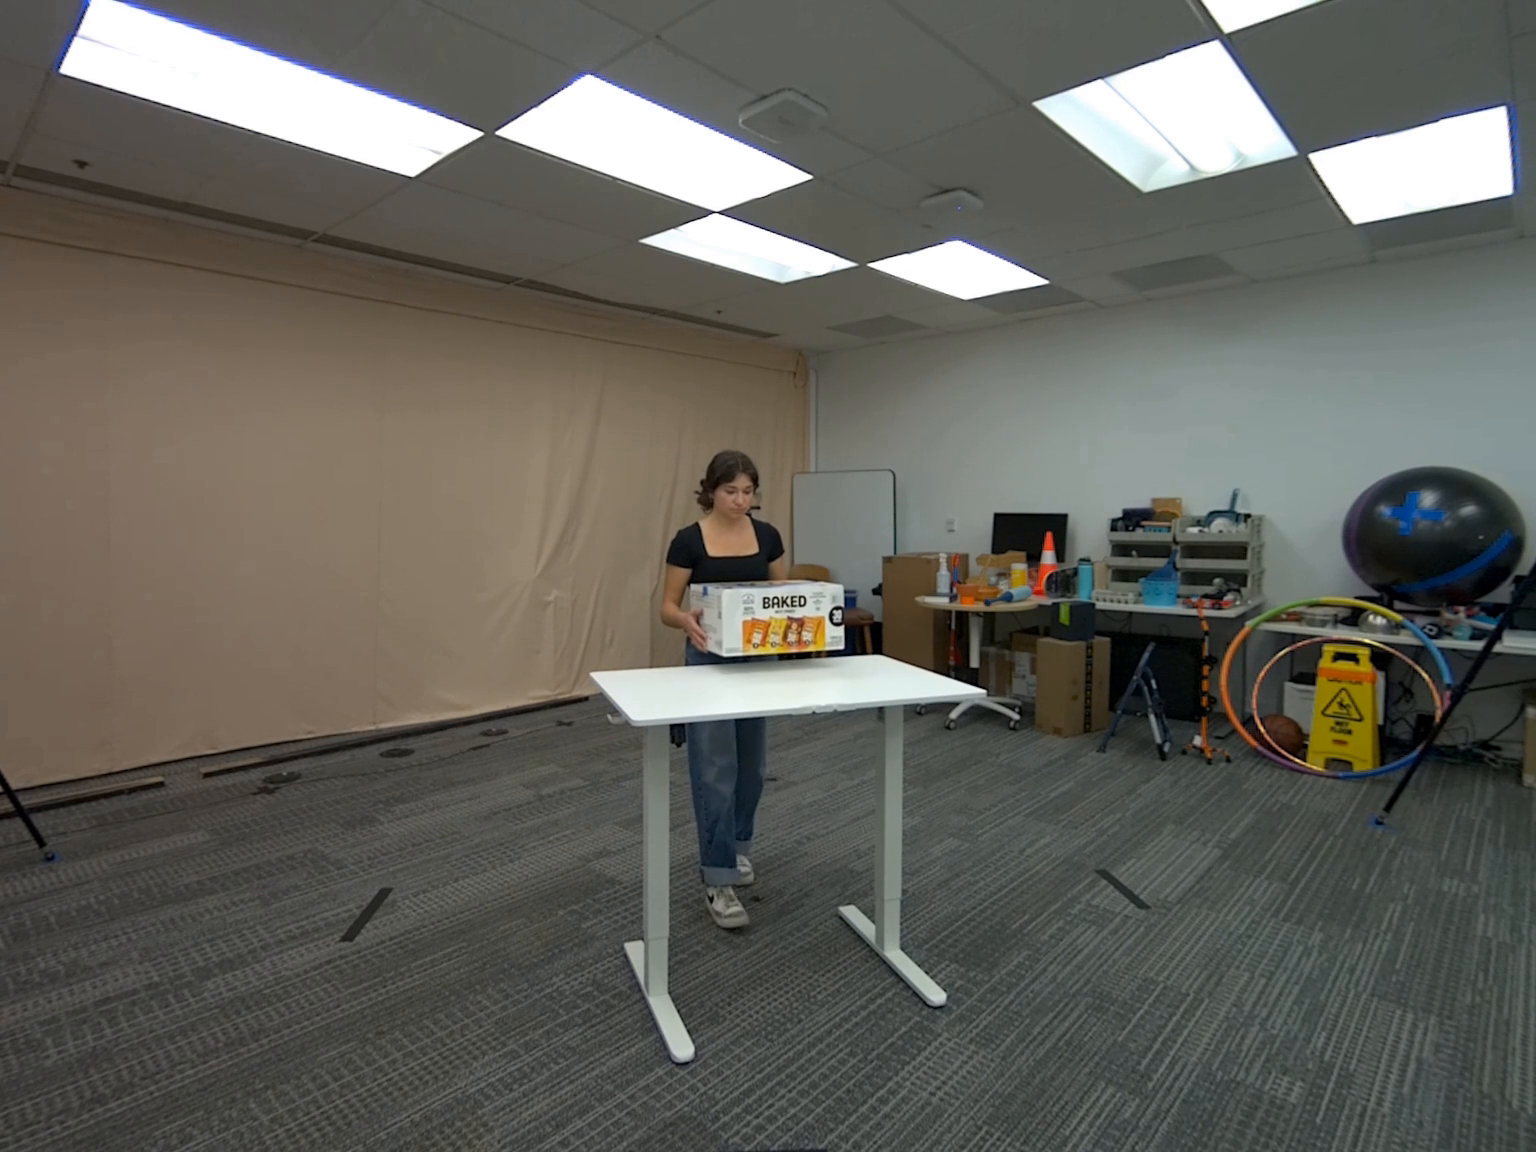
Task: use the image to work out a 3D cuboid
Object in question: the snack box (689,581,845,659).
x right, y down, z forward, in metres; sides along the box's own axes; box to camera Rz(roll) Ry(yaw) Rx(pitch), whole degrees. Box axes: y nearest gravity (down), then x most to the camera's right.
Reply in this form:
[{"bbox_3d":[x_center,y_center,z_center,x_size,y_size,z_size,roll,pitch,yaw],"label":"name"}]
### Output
[{"bbox_3d":[-0.012,0.128,2.734,0.397,0.205,0.347,-2,2,-20],"label":"snack box"}]
